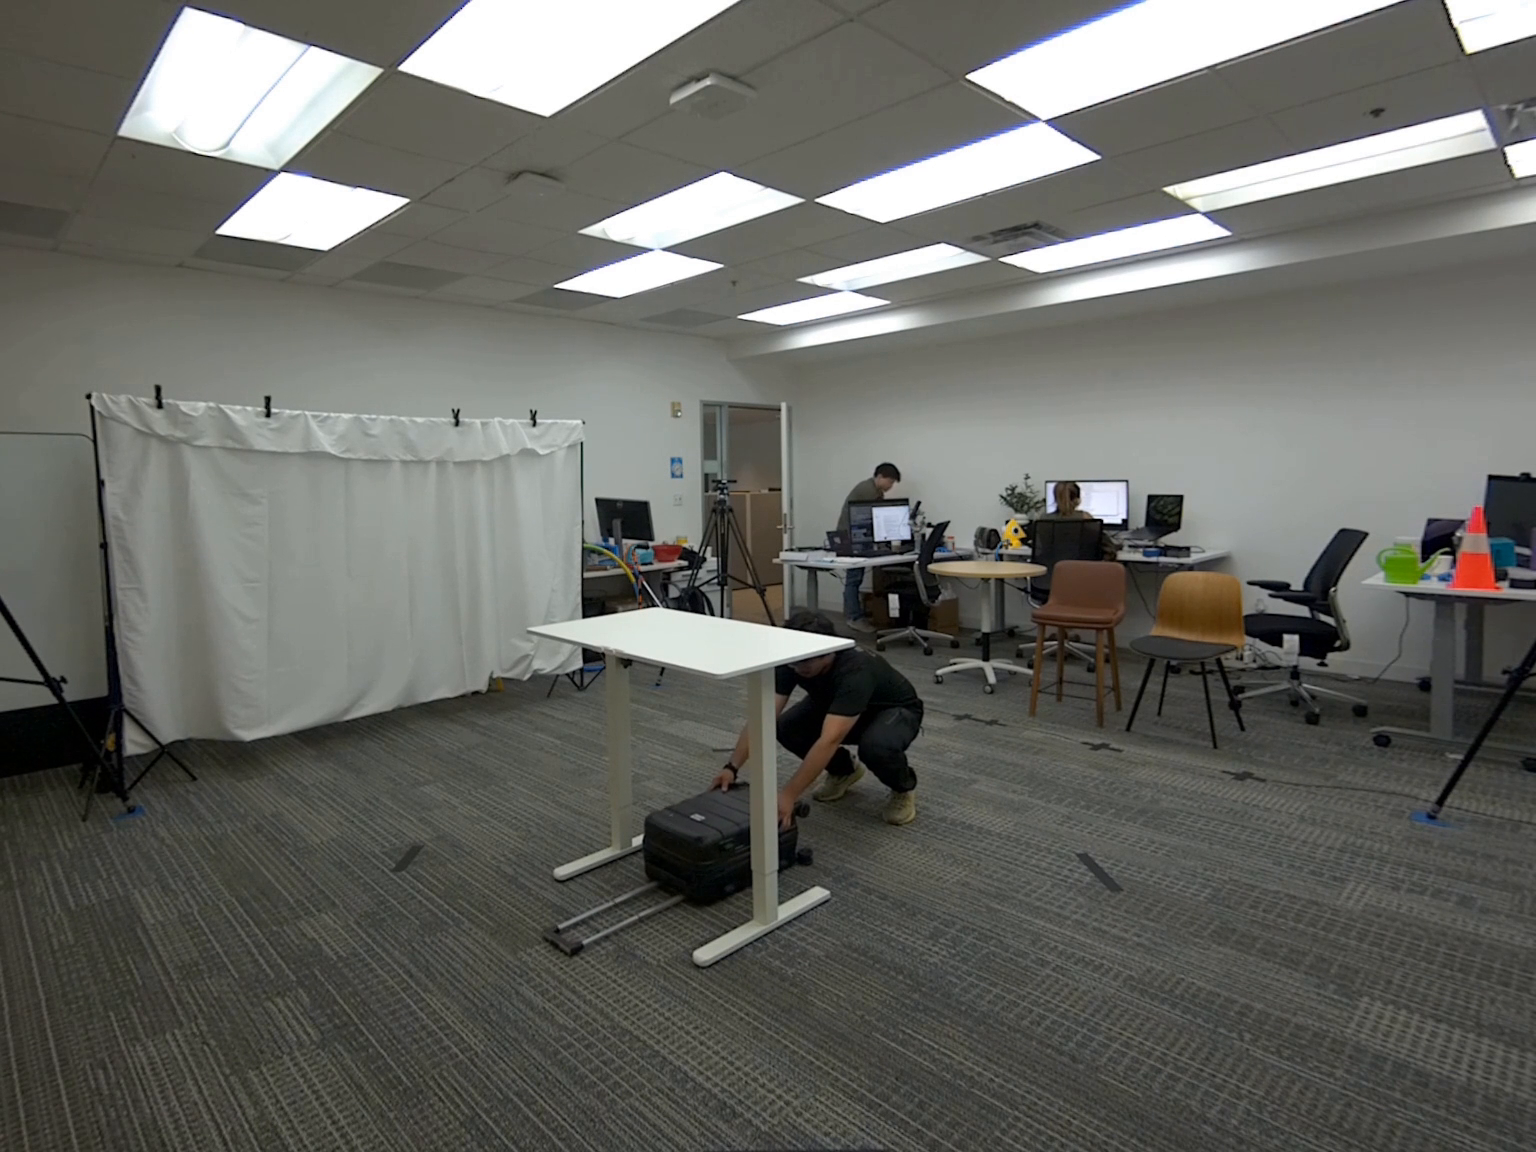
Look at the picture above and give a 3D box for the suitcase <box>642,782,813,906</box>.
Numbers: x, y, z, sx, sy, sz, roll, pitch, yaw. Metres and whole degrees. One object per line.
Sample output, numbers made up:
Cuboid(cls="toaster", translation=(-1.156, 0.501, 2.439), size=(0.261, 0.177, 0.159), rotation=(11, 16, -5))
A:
Cuboid(cls="suitcase", translation=(-0.297, 0.953, 2.907), size=(0.396, 0.256, 0.953), rotation=(6, 9, 44))
